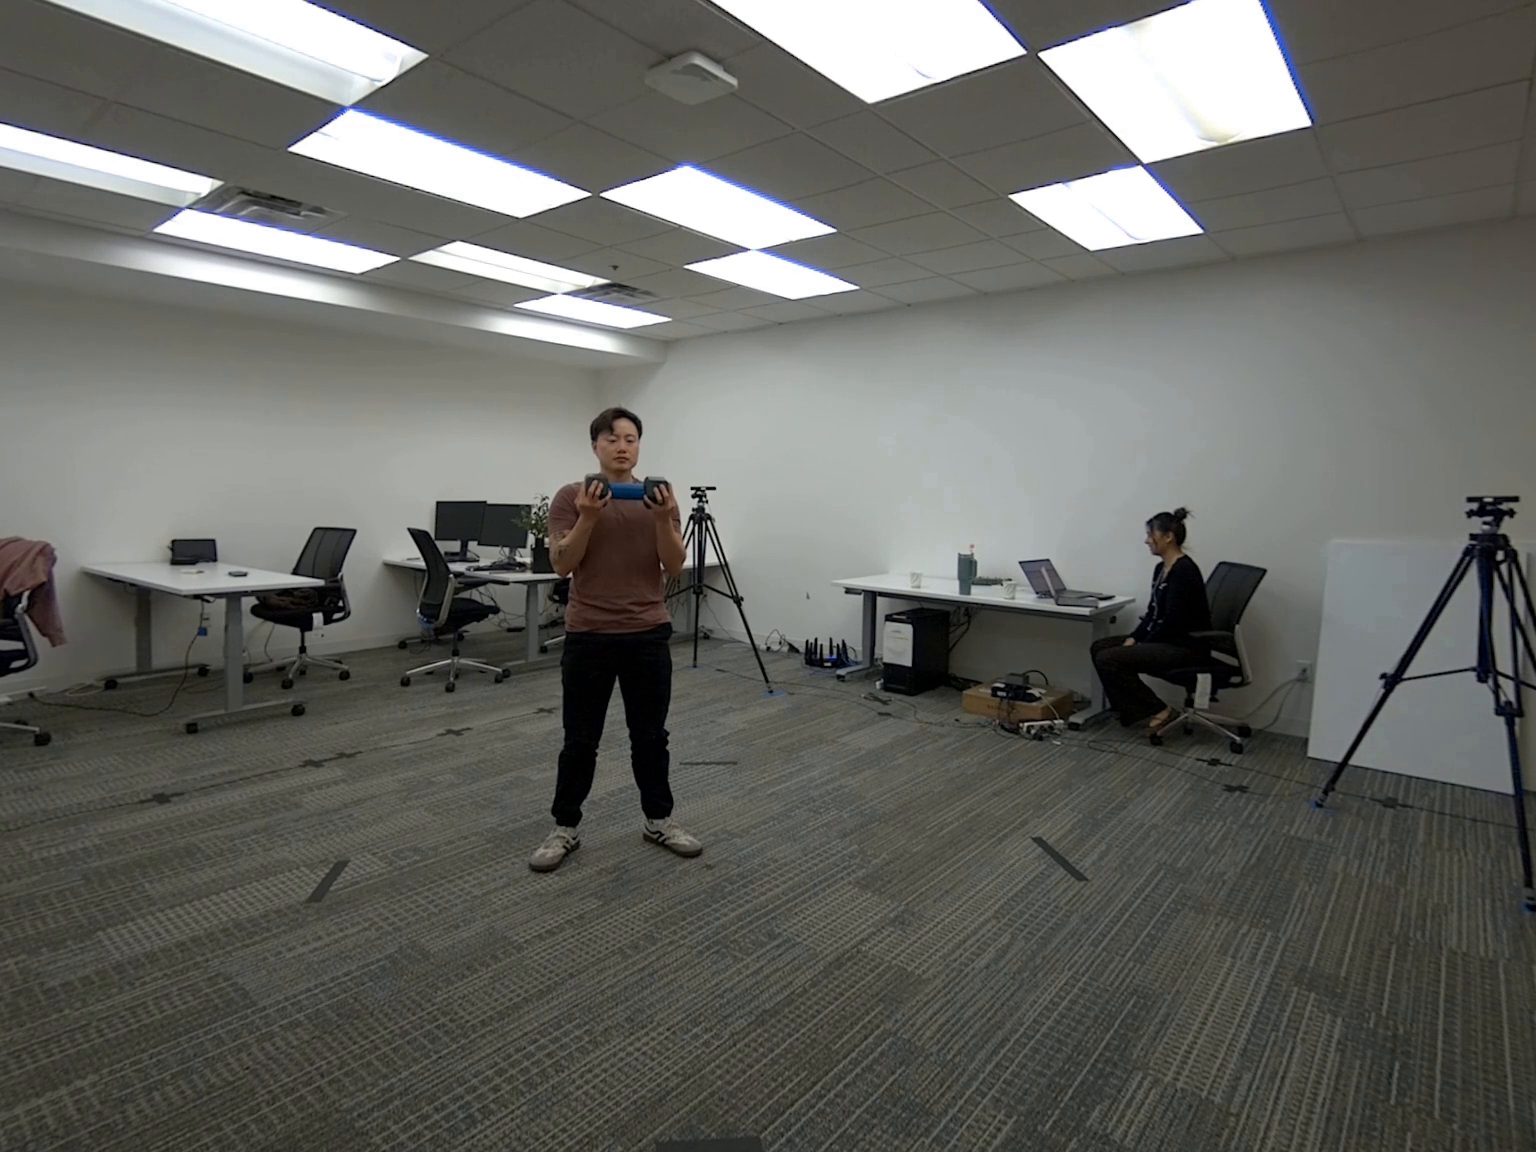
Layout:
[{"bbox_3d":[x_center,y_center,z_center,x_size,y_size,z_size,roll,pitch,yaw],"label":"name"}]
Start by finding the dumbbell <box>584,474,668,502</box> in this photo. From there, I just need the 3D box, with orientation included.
[{"bbox_3d":[-0.519,-0.305,3.031,0.291,0.112,0.120,1,-41,-9],"label":"dumbbell"}]
